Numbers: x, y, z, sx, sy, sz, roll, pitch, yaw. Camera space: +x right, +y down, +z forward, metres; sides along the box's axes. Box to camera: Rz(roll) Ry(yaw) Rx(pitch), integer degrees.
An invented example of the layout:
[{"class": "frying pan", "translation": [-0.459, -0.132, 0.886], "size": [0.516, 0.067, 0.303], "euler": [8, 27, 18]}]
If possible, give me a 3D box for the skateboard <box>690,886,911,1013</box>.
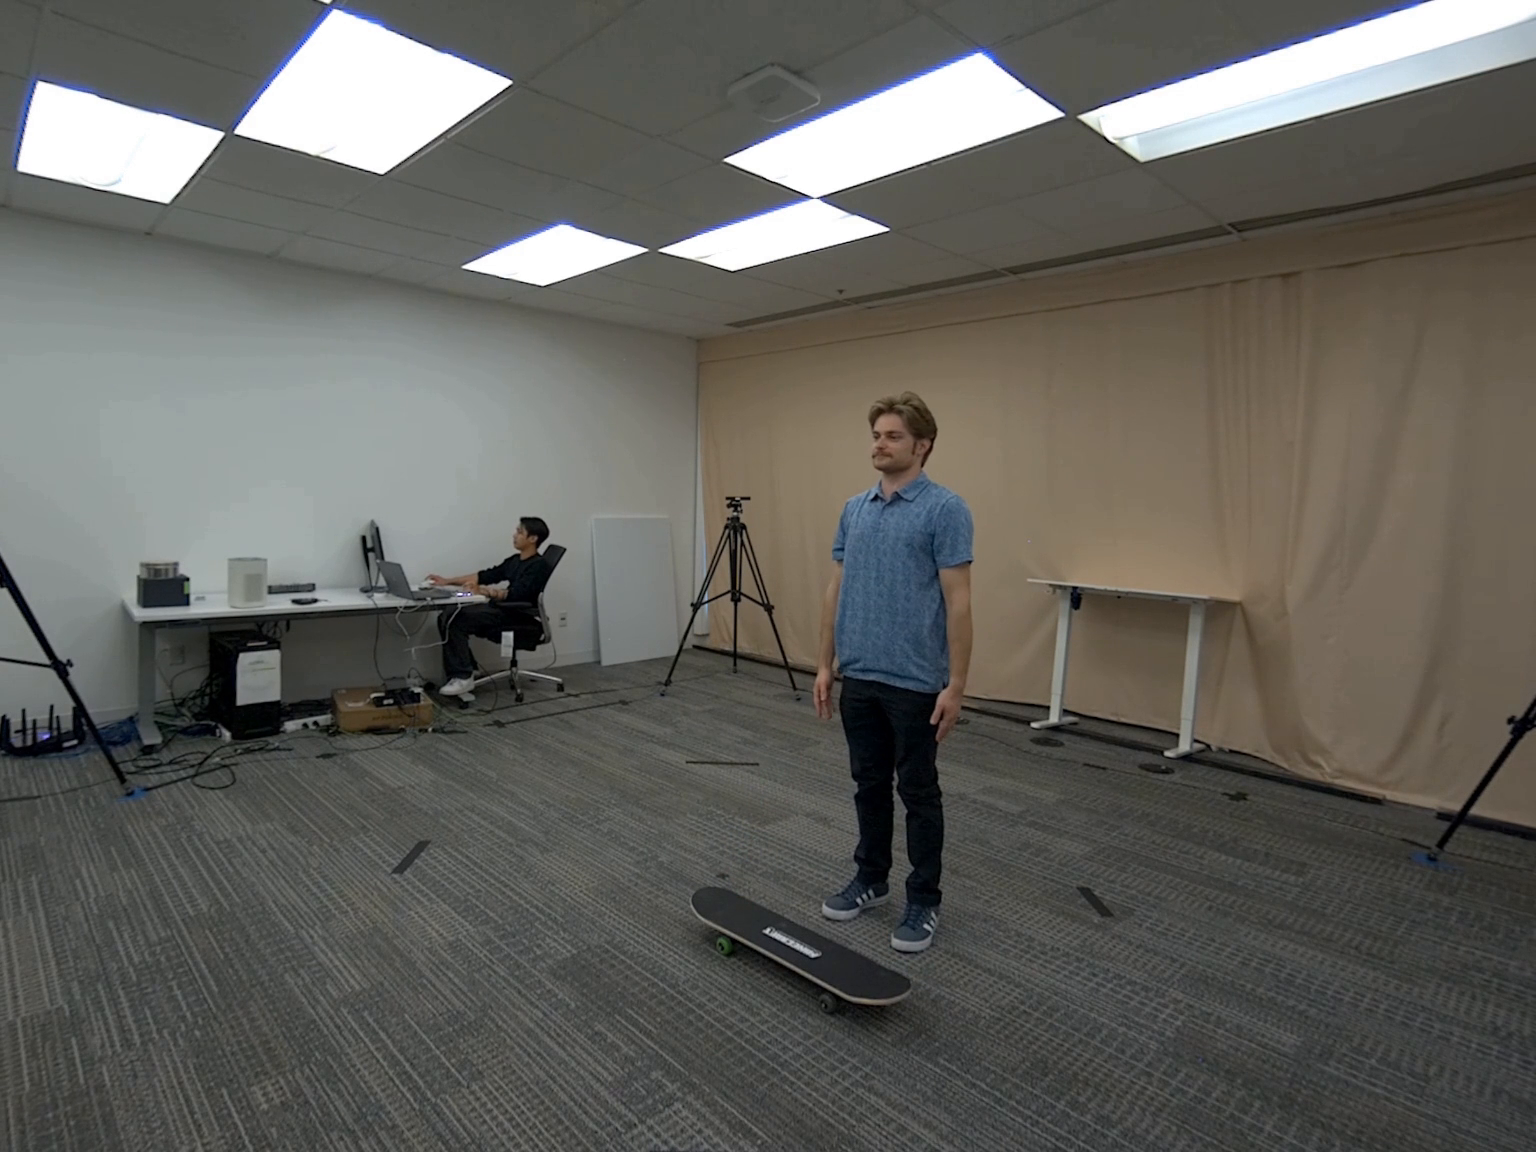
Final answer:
[{"class": "skateboard", "translation": [0.062, 1.113, 2.485], "size": [0.806, 0.110, 0.189], "euler": [6, 7, 43]}]
